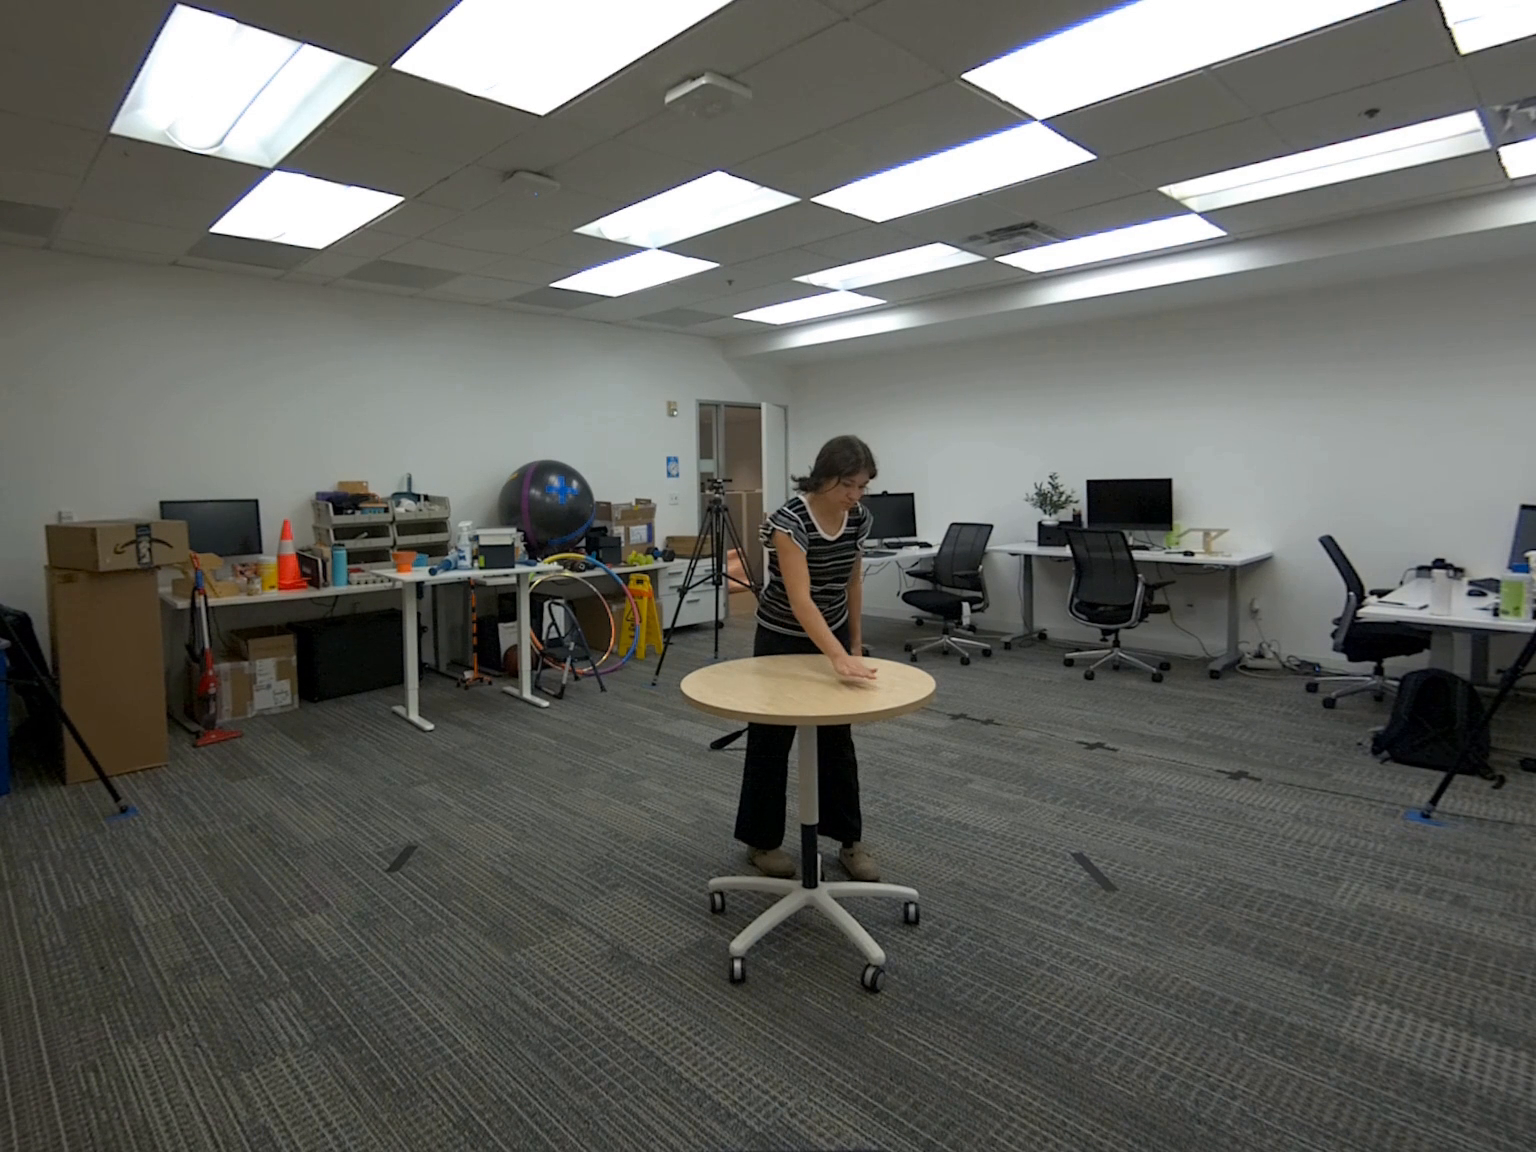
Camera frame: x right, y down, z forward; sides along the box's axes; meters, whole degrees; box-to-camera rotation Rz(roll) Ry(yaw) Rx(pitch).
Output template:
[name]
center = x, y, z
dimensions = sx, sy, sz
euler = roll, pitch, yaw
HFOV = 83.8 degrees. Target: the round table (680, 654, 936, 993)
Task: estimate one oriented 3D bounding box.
[round table]
center = 0.130, 0.713, 2.615
dimensions = 0.763, 0.791, 0.768
euler = -2, 5, -2
